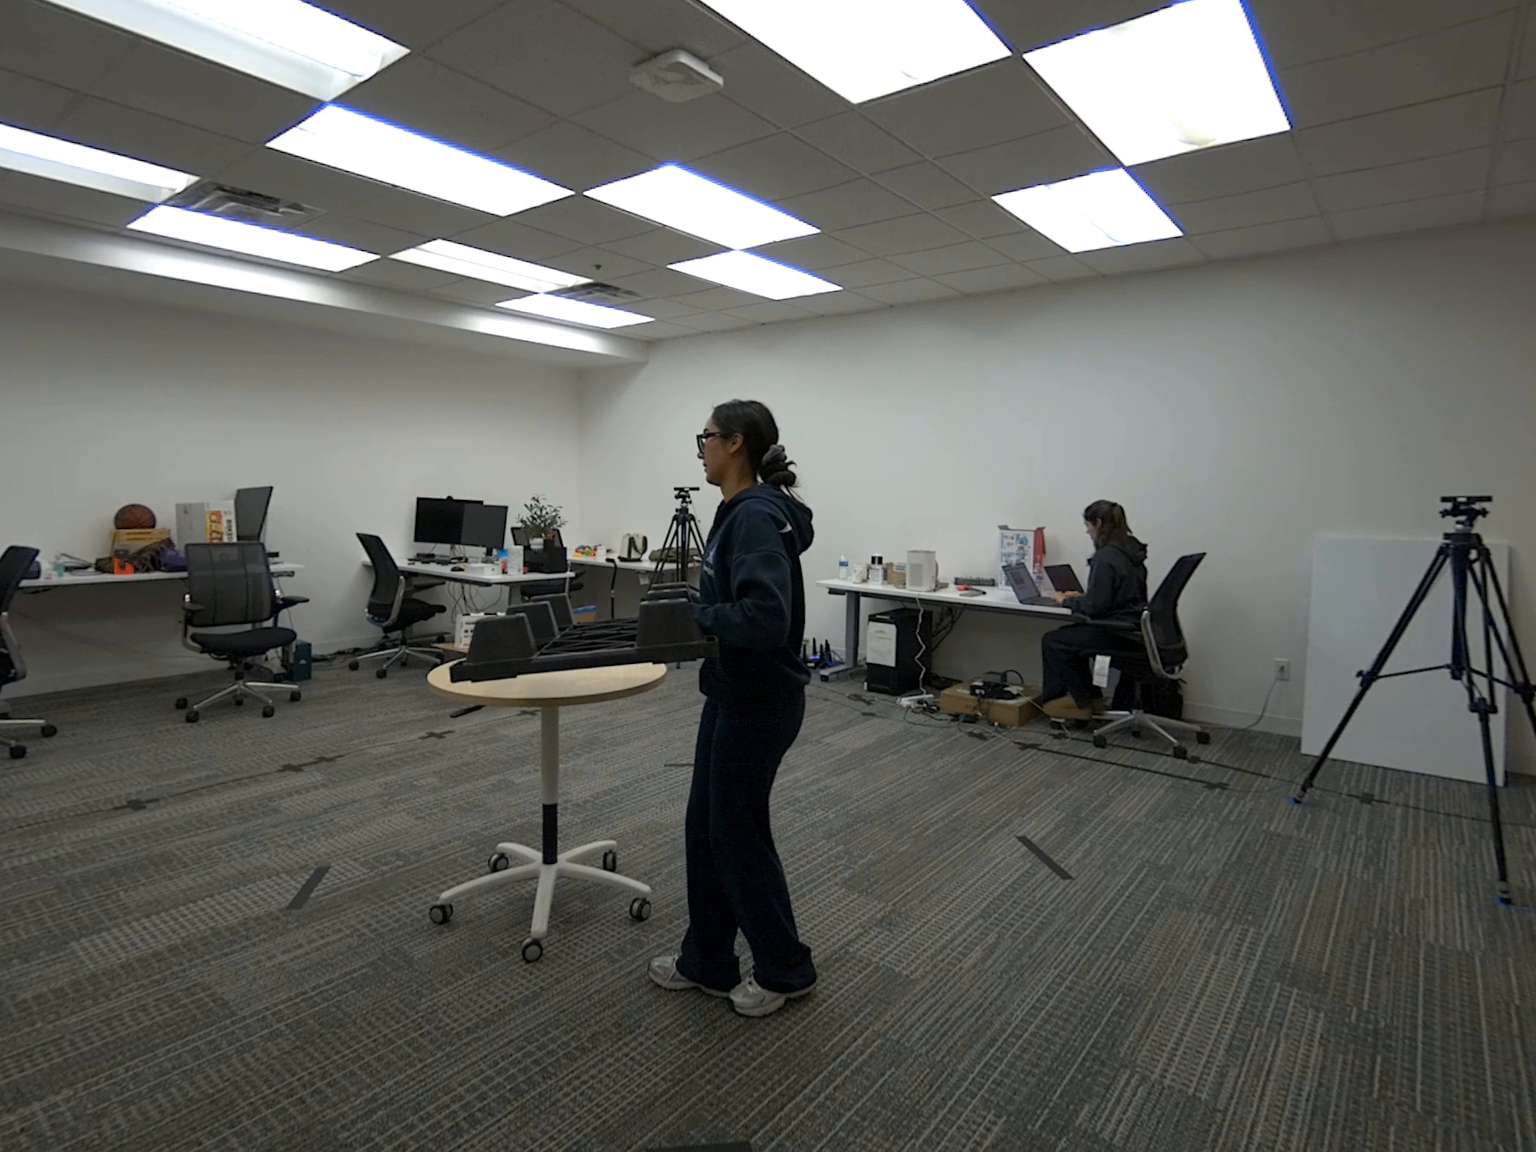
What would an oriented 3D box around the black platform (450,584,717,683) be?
[{"bbox_3d":[-0.455,0.131,2.269,0.603,0.143,0.810,-5,3,-5],"label":"black platform"}]
